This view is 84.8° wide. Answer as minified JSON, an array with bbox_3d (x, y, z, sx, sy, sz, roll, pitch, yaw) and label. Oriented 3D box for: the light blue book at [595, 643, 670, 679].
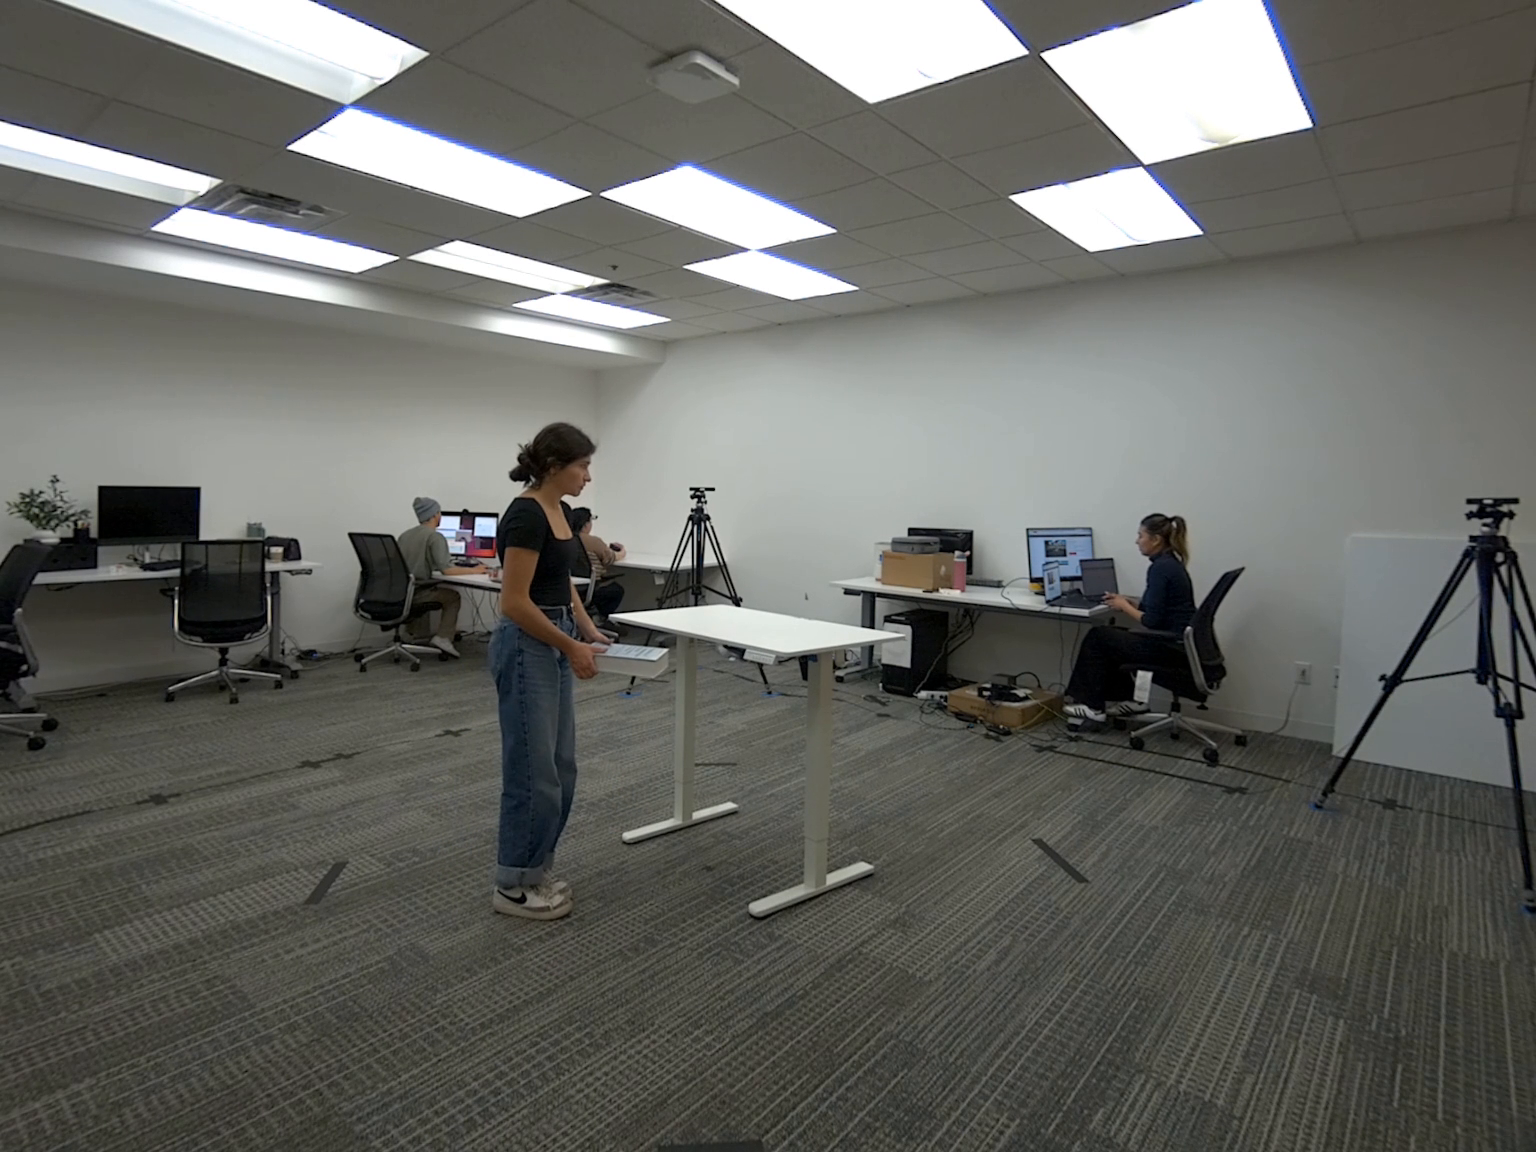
[{"bbox_3d":[-0.486,0.279,2.792,0.263,0.059,0.191,3,7,7],"label":"light blue book"}]
